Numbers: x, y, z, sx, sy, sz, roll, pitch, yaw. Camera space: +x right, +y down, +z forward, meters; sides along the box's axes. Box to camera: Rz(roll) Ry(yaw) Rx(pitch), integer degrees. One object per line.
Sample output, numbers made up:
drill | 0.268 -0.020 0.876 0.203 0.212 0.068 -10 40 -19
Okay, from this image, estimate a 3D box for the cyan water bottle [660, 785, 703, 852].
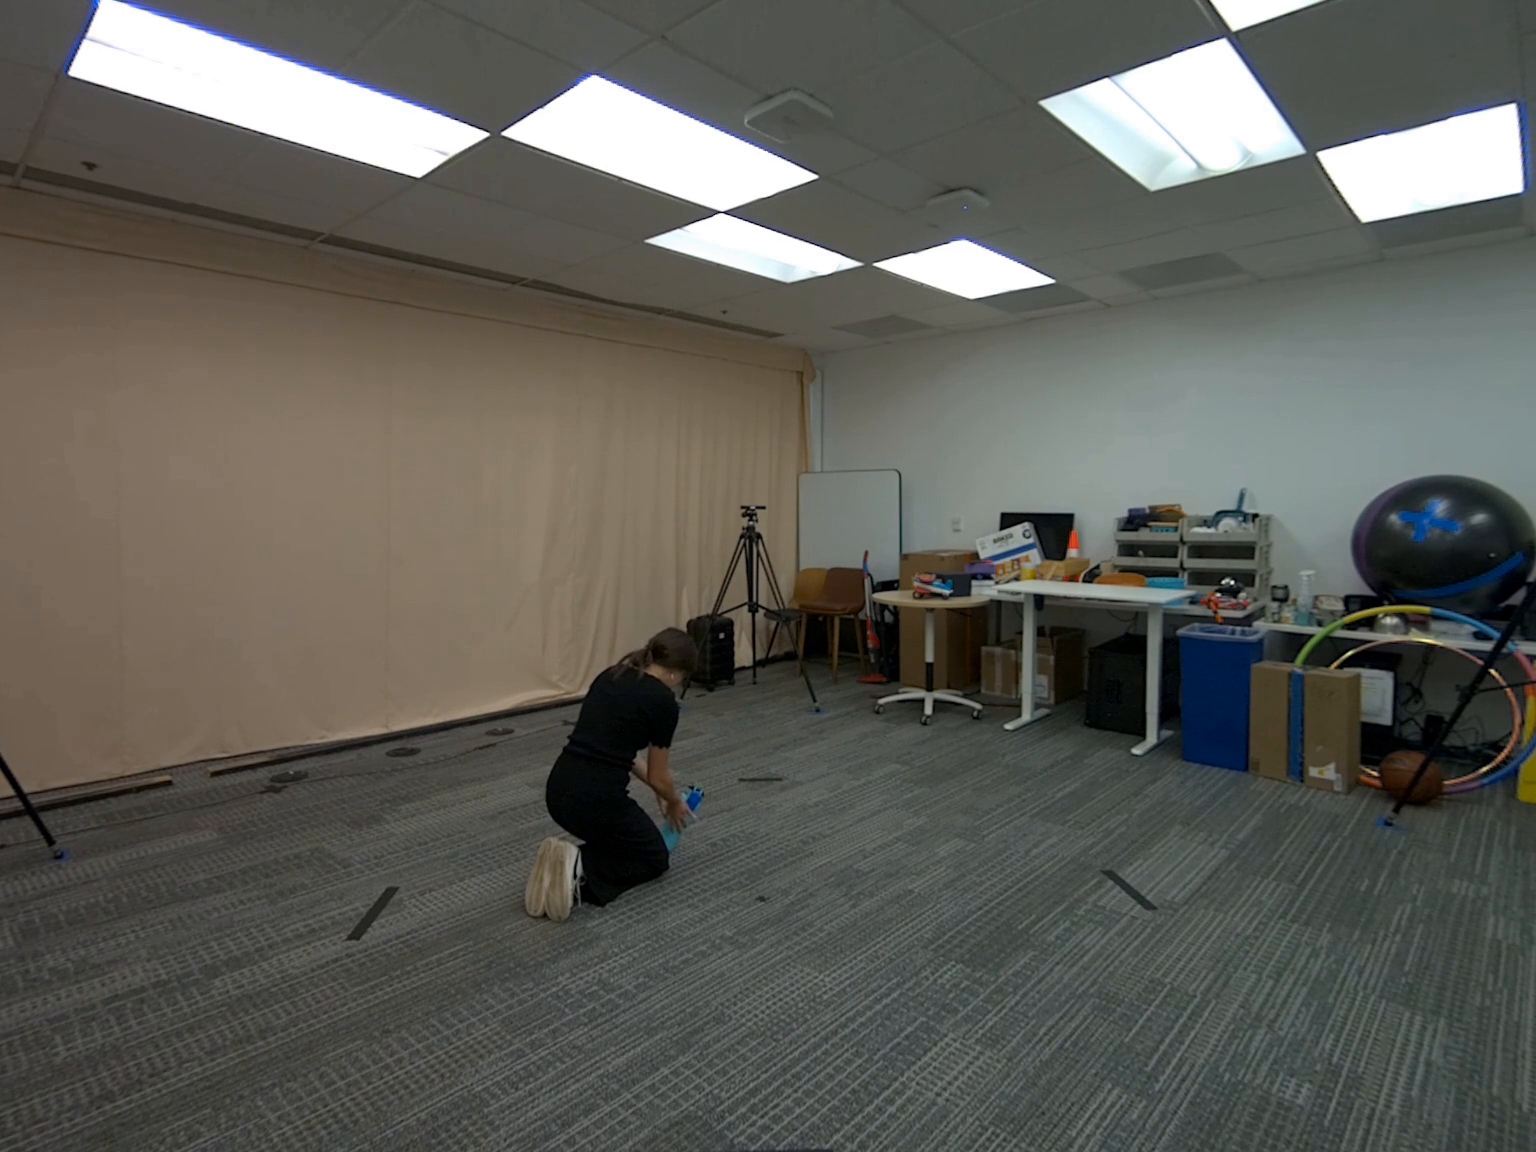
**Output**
cyan water bottle | -0.348 0.972 3.413 0.092 0.283 0.092 29 1 -3
